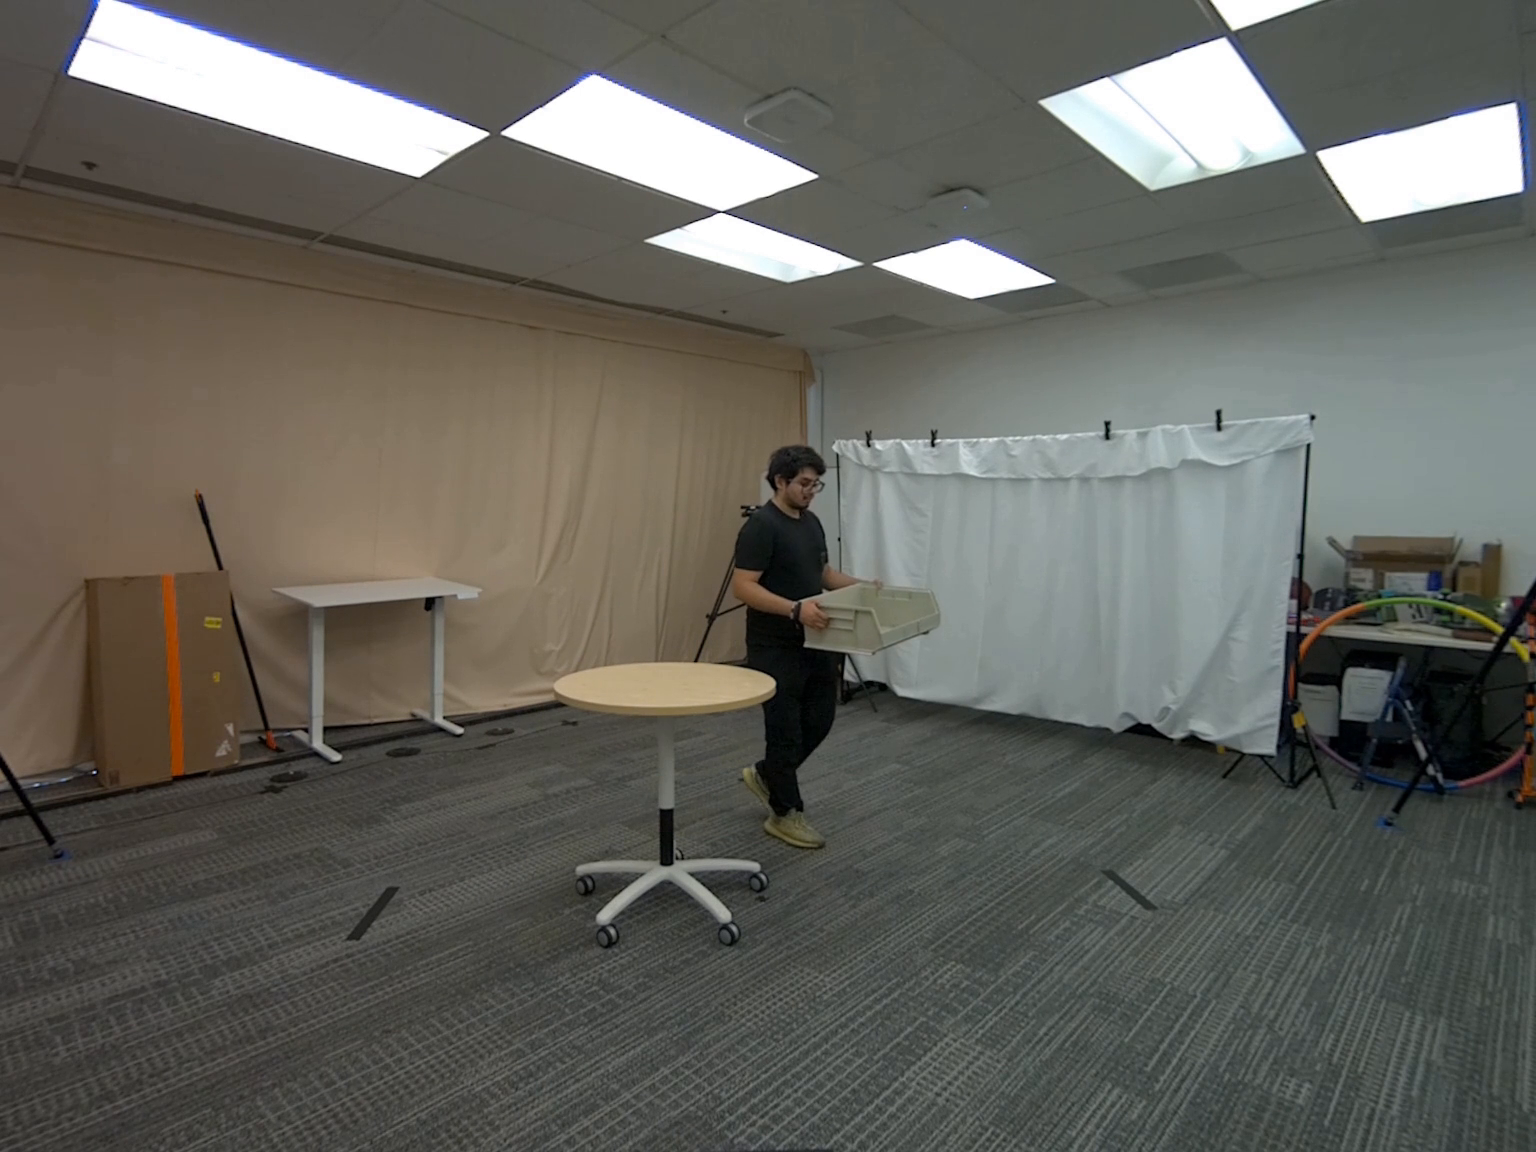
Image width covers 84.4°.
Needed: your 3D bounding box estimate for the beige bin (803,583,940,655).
[{"bbox_3d":[0.401,0.162,3.276,0.390,0.188,0.411,2,10,43],"label":"beige bin"}]
